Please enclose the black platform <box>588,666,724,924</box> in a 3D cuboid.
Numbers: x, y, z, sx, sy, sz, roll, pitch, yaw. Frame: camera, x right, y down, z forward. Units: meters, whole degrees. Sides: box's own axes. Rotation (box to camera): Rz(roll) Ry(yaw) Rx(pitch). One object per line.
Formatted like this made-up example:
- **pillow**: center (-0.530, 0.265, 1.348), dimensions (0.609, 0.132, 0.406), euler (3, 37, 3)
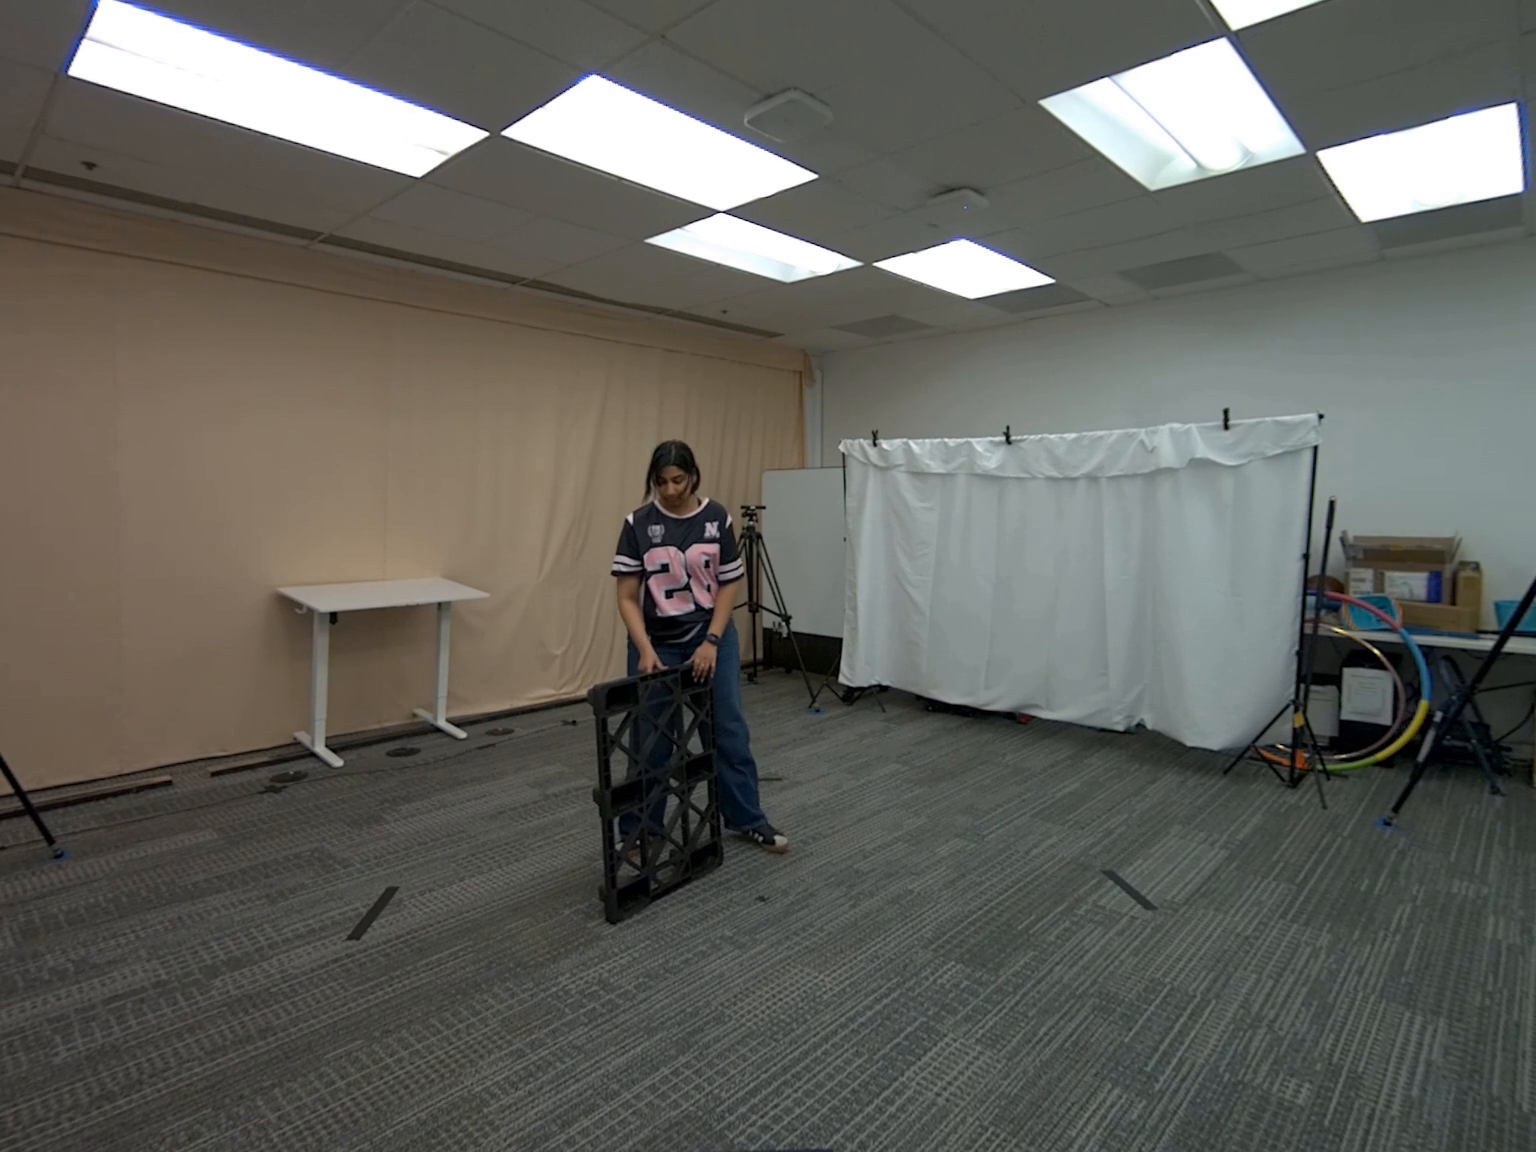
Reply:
- **black platform**: center (-0.419, 0.748, 3.060), dimensions (0.148, 0.805, 0.587), euler (-3, 1, 37)
